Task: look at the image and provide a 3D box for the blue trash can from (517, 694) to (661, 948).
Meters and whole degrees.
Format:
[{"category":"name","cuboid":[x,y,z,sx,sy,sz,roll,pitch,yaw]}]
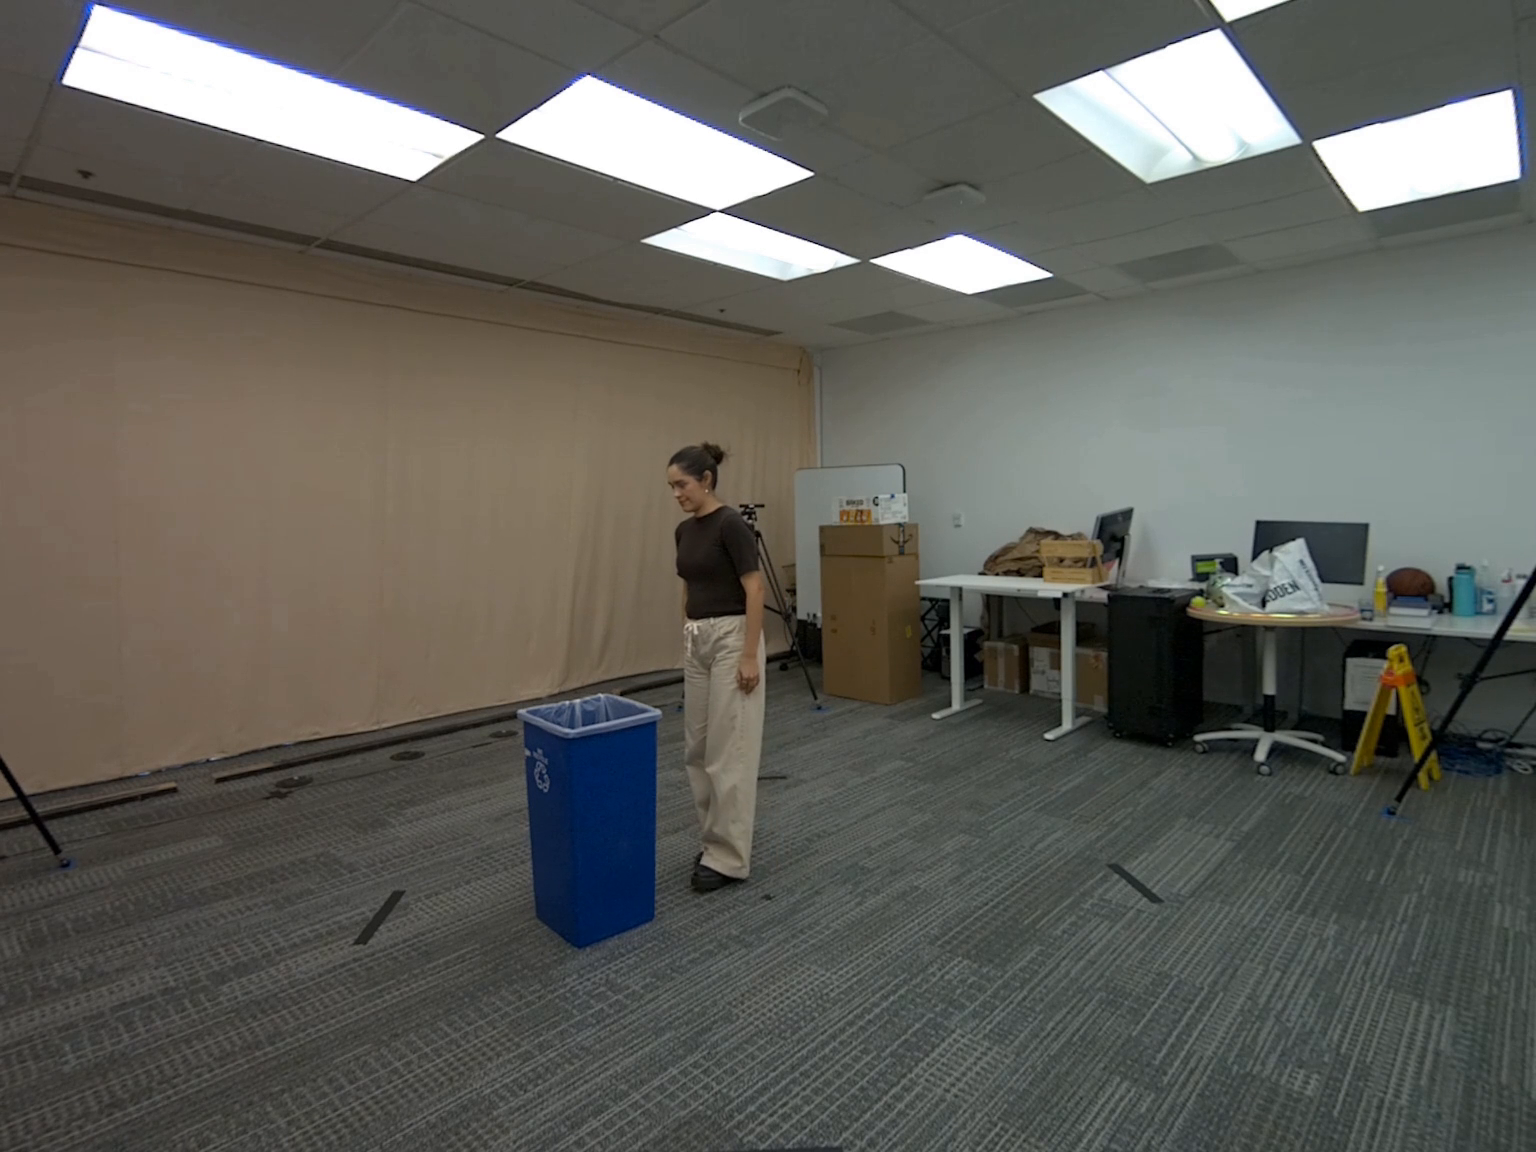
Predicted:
[{"category":"blue trash can","cuboid":[-0.599,0.809,2.836,0.363,0.712,0.390,-4,5,-41]}]
